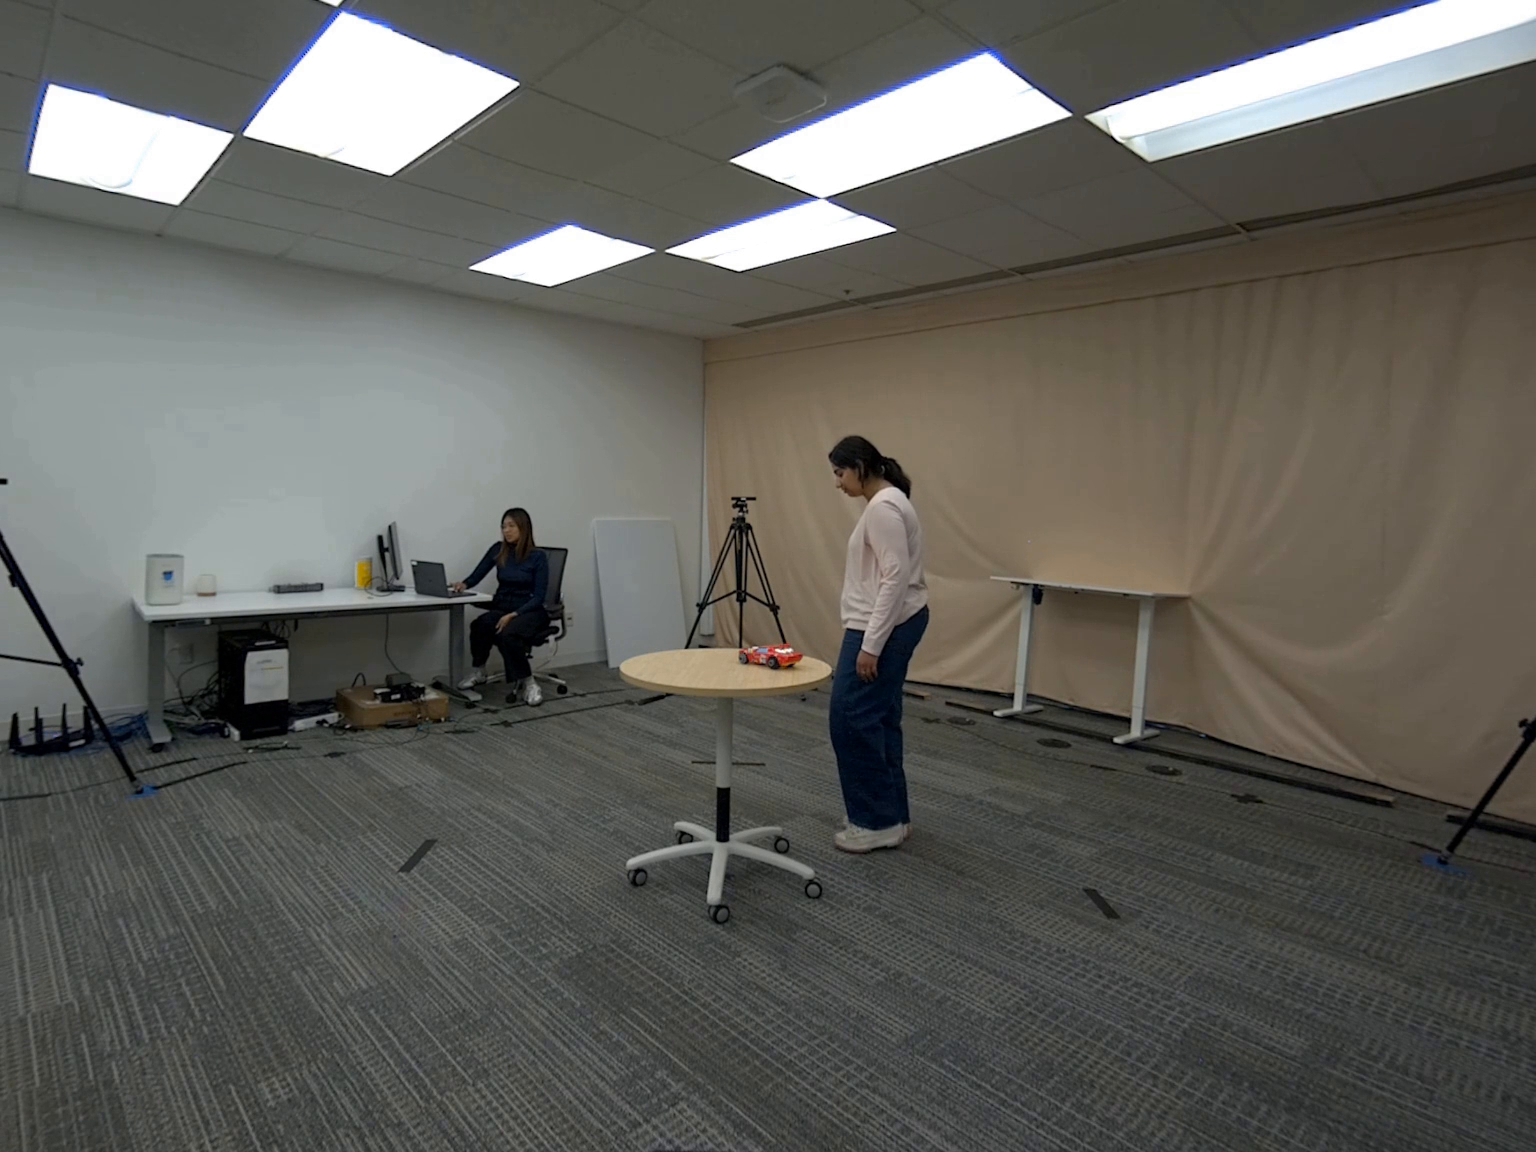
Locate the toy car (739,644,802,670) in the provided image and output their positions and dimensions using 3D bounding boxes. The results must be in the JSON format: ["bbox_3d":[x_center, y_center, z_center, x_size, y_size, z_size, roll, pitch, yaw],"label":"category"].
[{"bbox_3d":[0.005,0.297,3.071,0.259,0.083,0.127,-10,-4,42],"label":"toy car"}]
